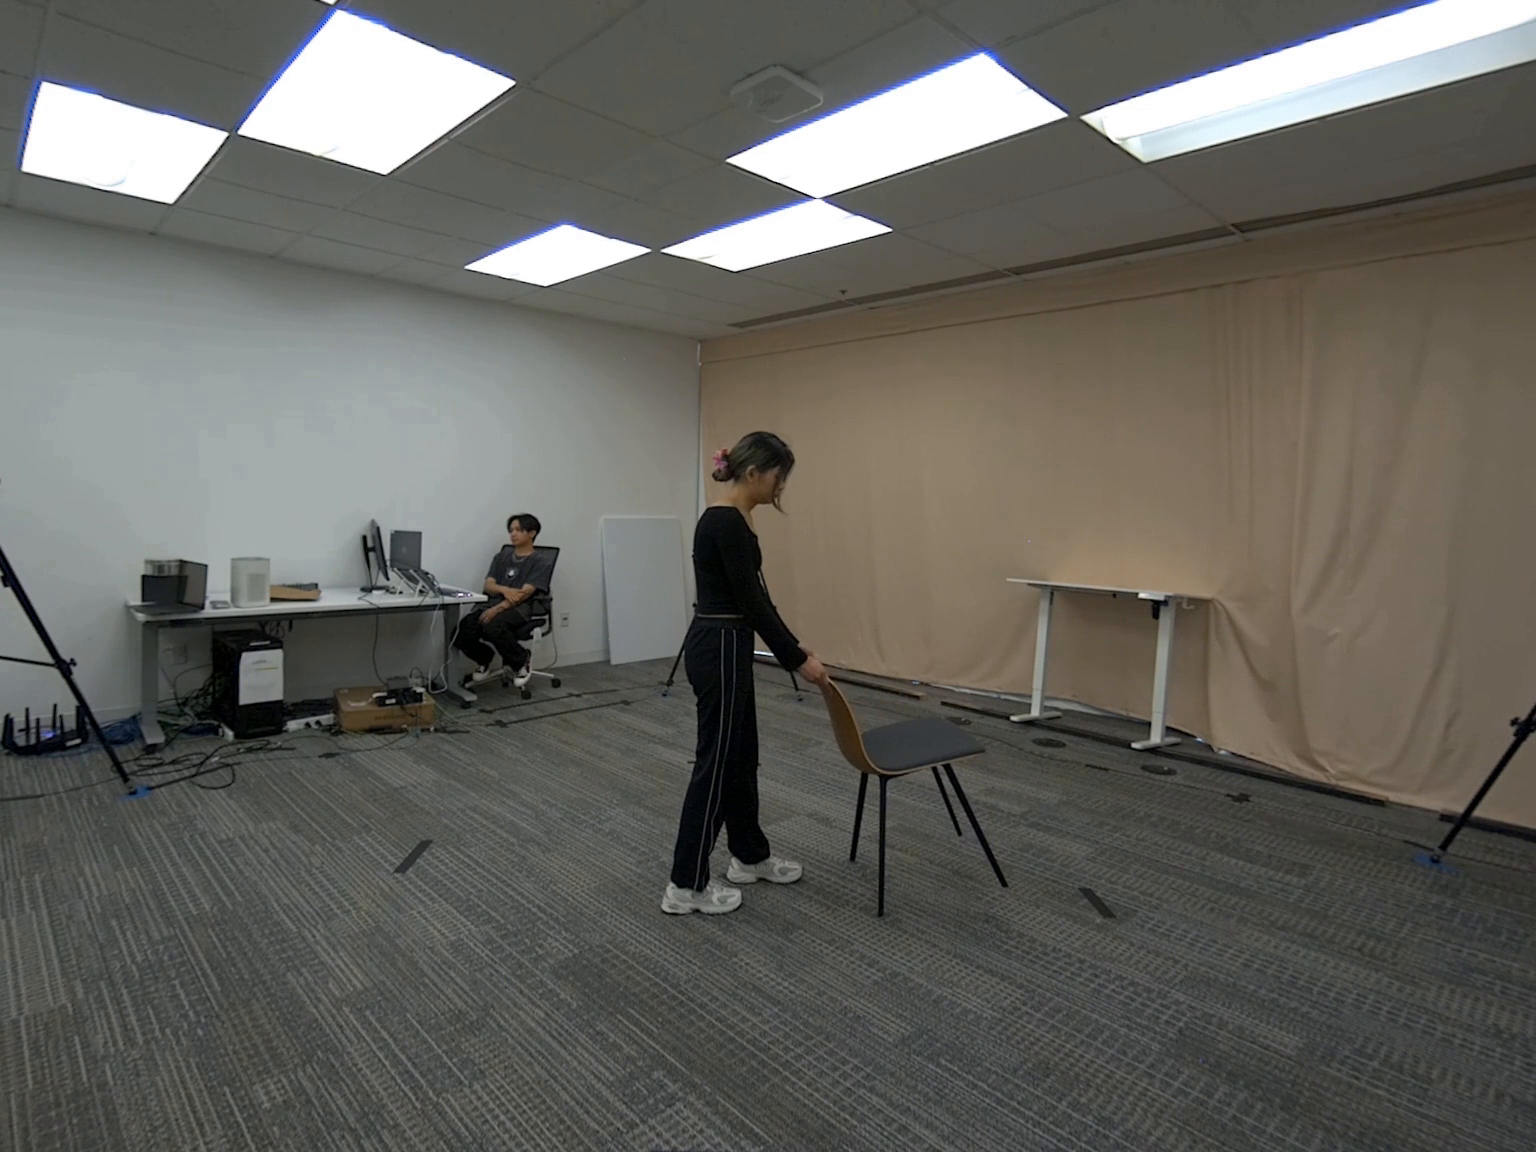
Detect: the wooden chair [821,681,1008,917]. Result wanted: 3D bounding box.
[{"bbox_3d":[0.487,0.662,3.025,0.521,0.874,0.481,-16,4,-5],"label":"wooden chair"}]
